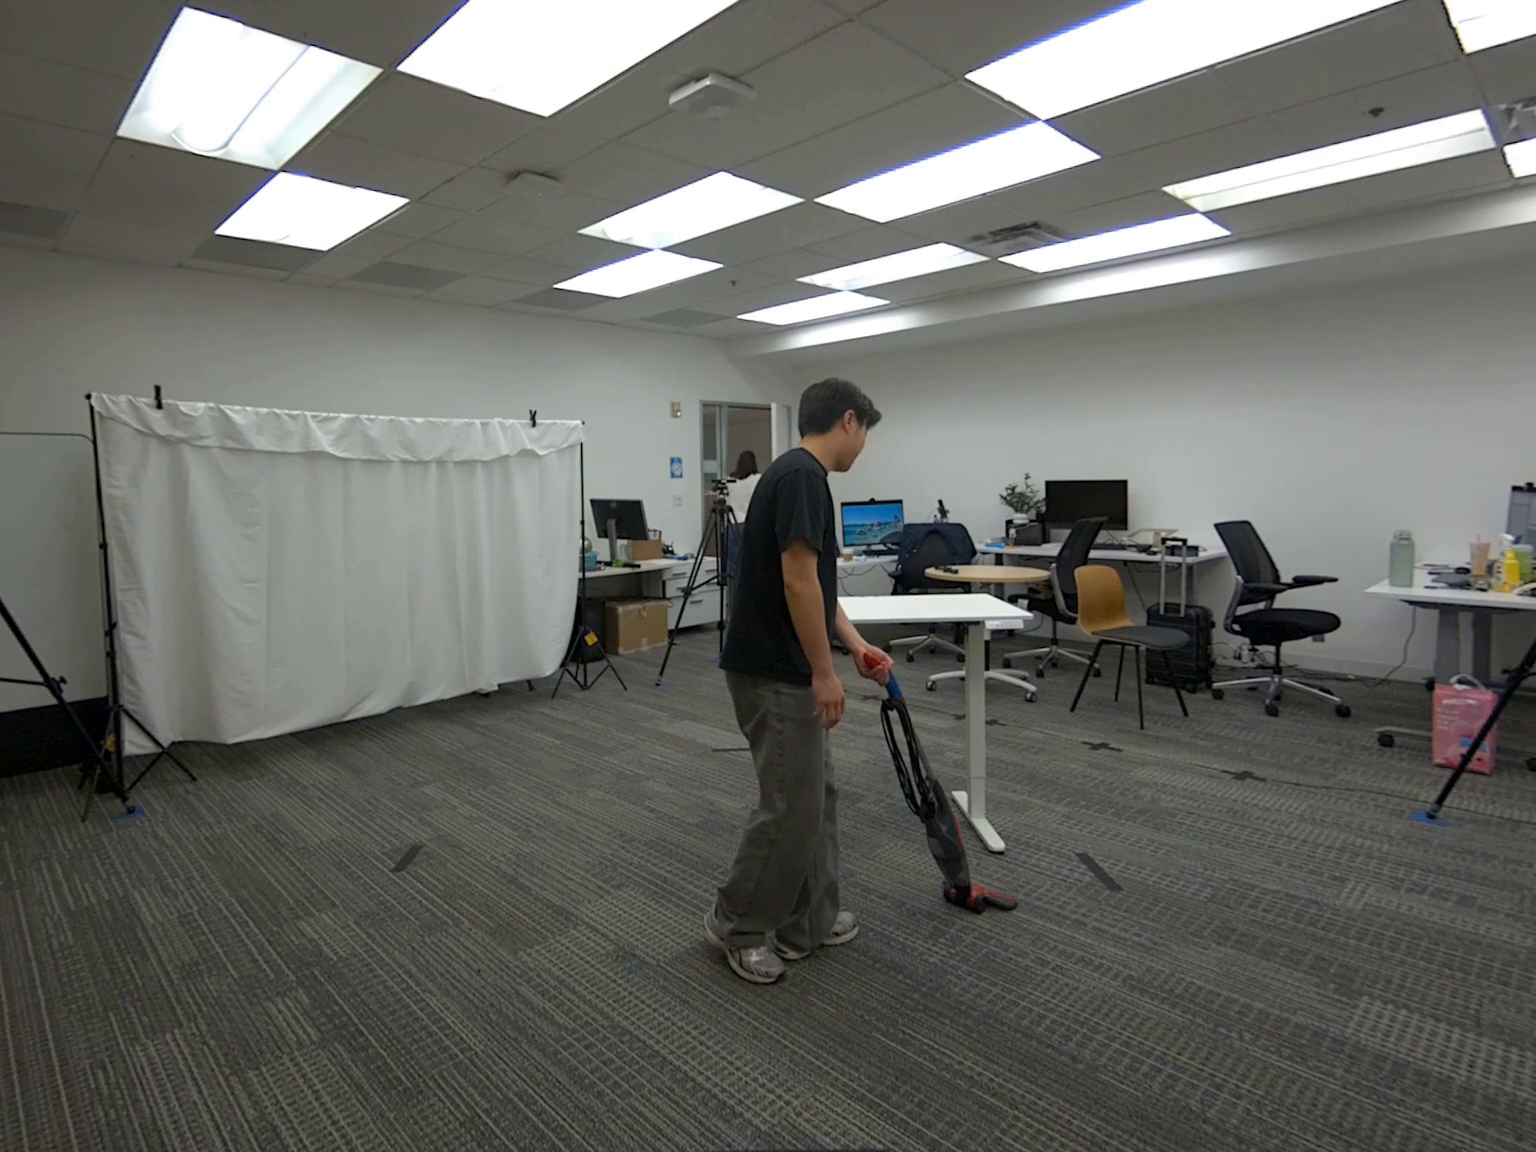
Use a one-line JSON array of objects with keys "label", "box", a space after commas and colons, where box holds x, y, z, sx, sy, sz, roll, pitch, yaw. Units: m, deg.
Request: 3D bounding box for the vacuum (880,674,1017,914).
[{"label": "vacuum", "box": [0.483, 0.648, 2.598, 0.260, 1.020, 0.143, 4, 37, 46]}]
